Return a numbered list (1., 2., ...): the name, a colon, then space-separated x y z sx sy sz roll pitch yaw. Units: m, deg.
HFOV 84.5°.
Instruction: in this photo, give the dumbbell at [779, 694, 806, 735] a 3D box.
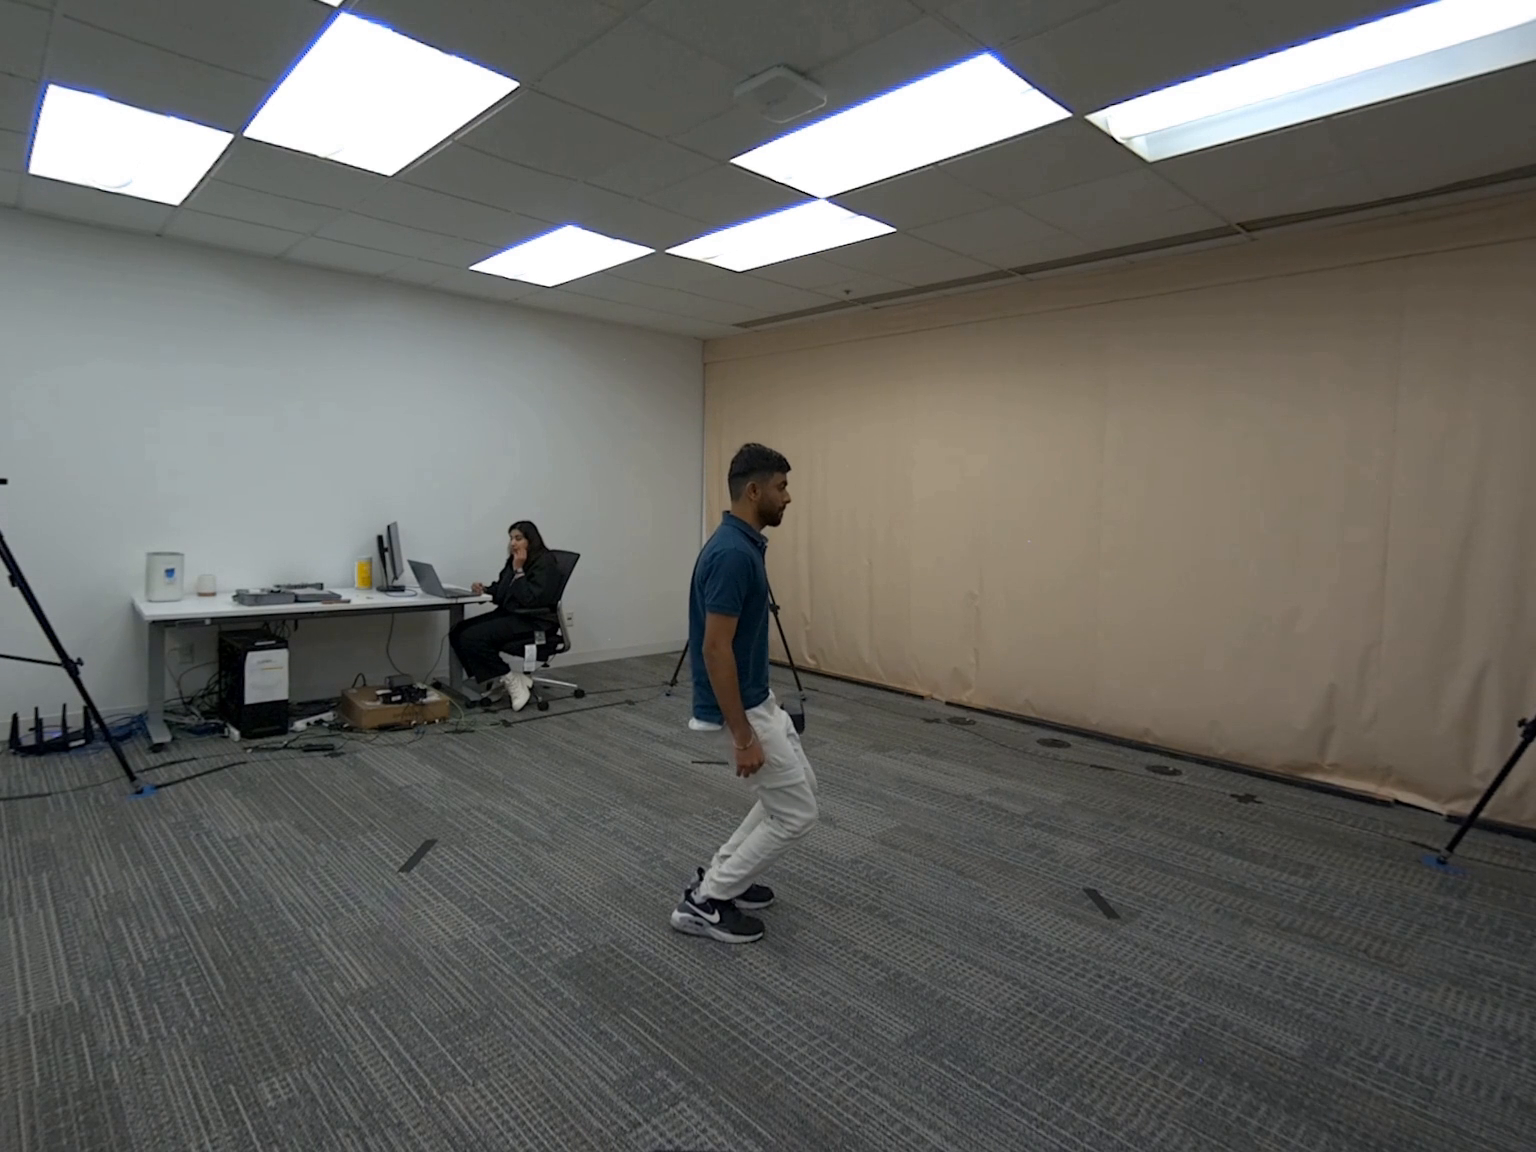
1. dumbbell: -0.022 0.513 2.987 0.293 0.122 0.109 -1 8 -1
